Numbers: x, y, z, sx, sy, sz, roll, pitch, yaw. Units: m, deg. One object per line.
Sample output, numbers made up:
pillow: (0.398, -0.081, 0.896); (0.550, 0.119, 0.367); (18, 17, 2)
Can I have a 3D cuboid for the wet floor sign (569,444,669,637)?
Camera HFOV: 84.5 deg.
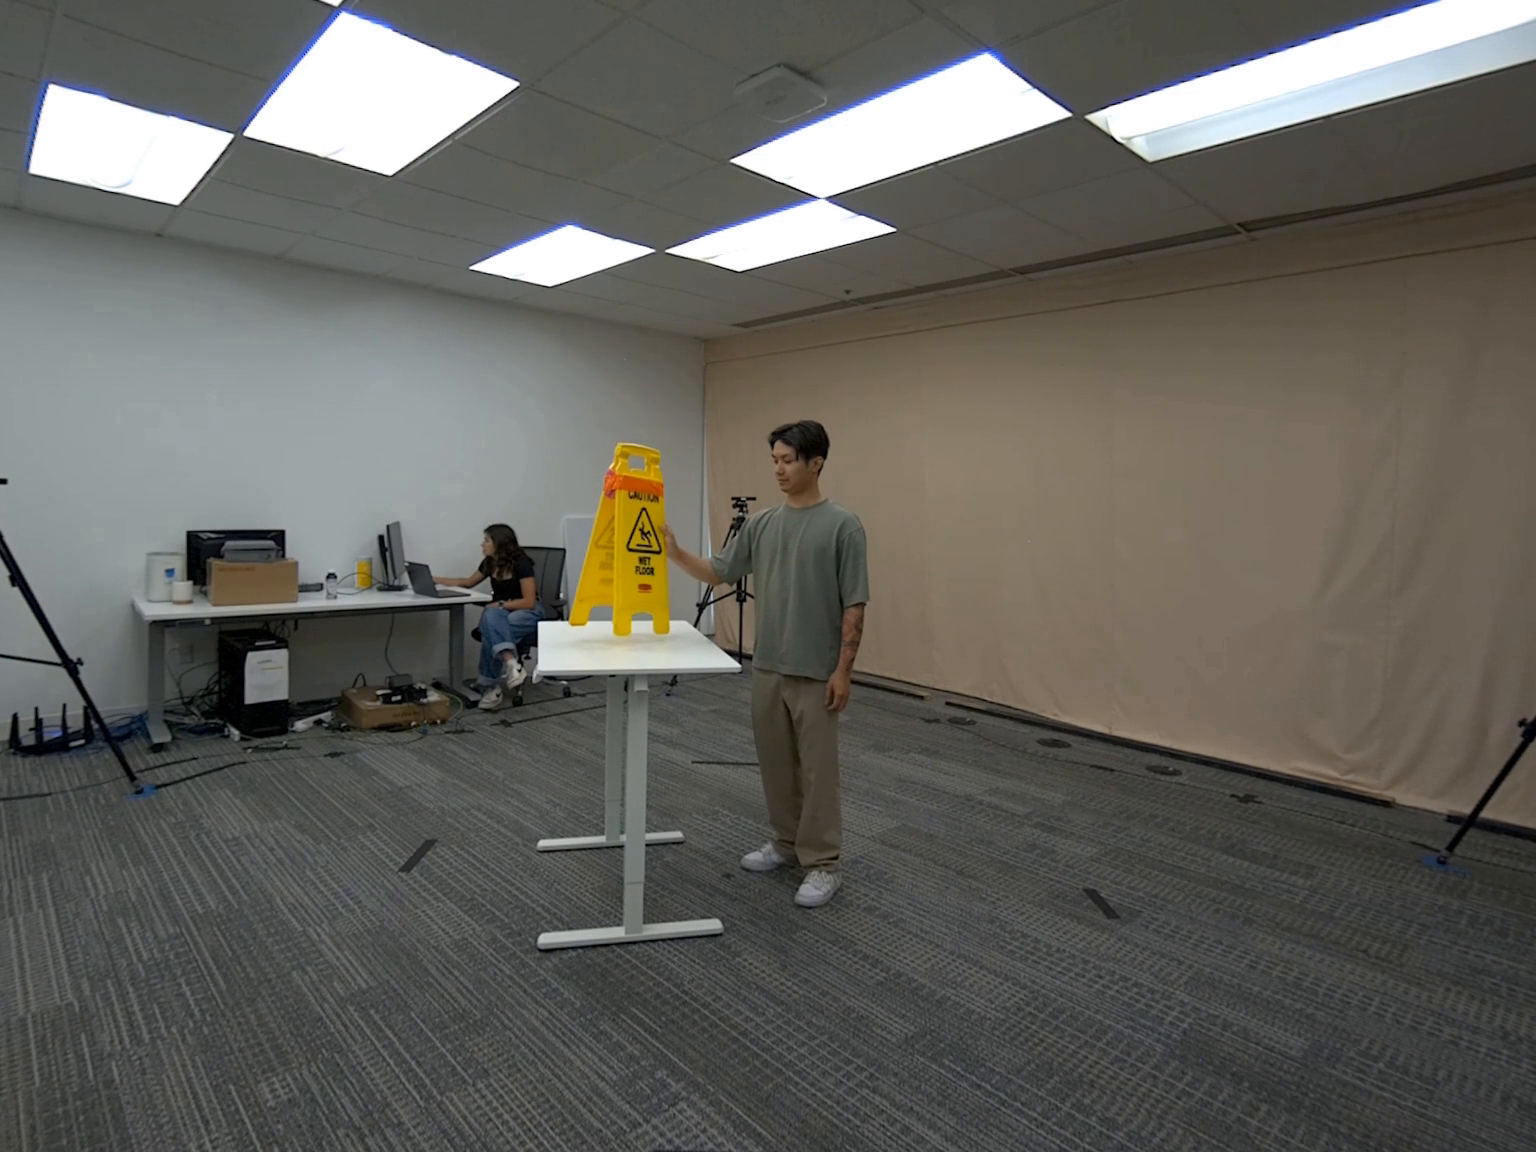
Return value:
wet floor sign: (-0.501, -0.134, 2.964); (0.297, 0.646, 0.275); (6, 0, 37)
